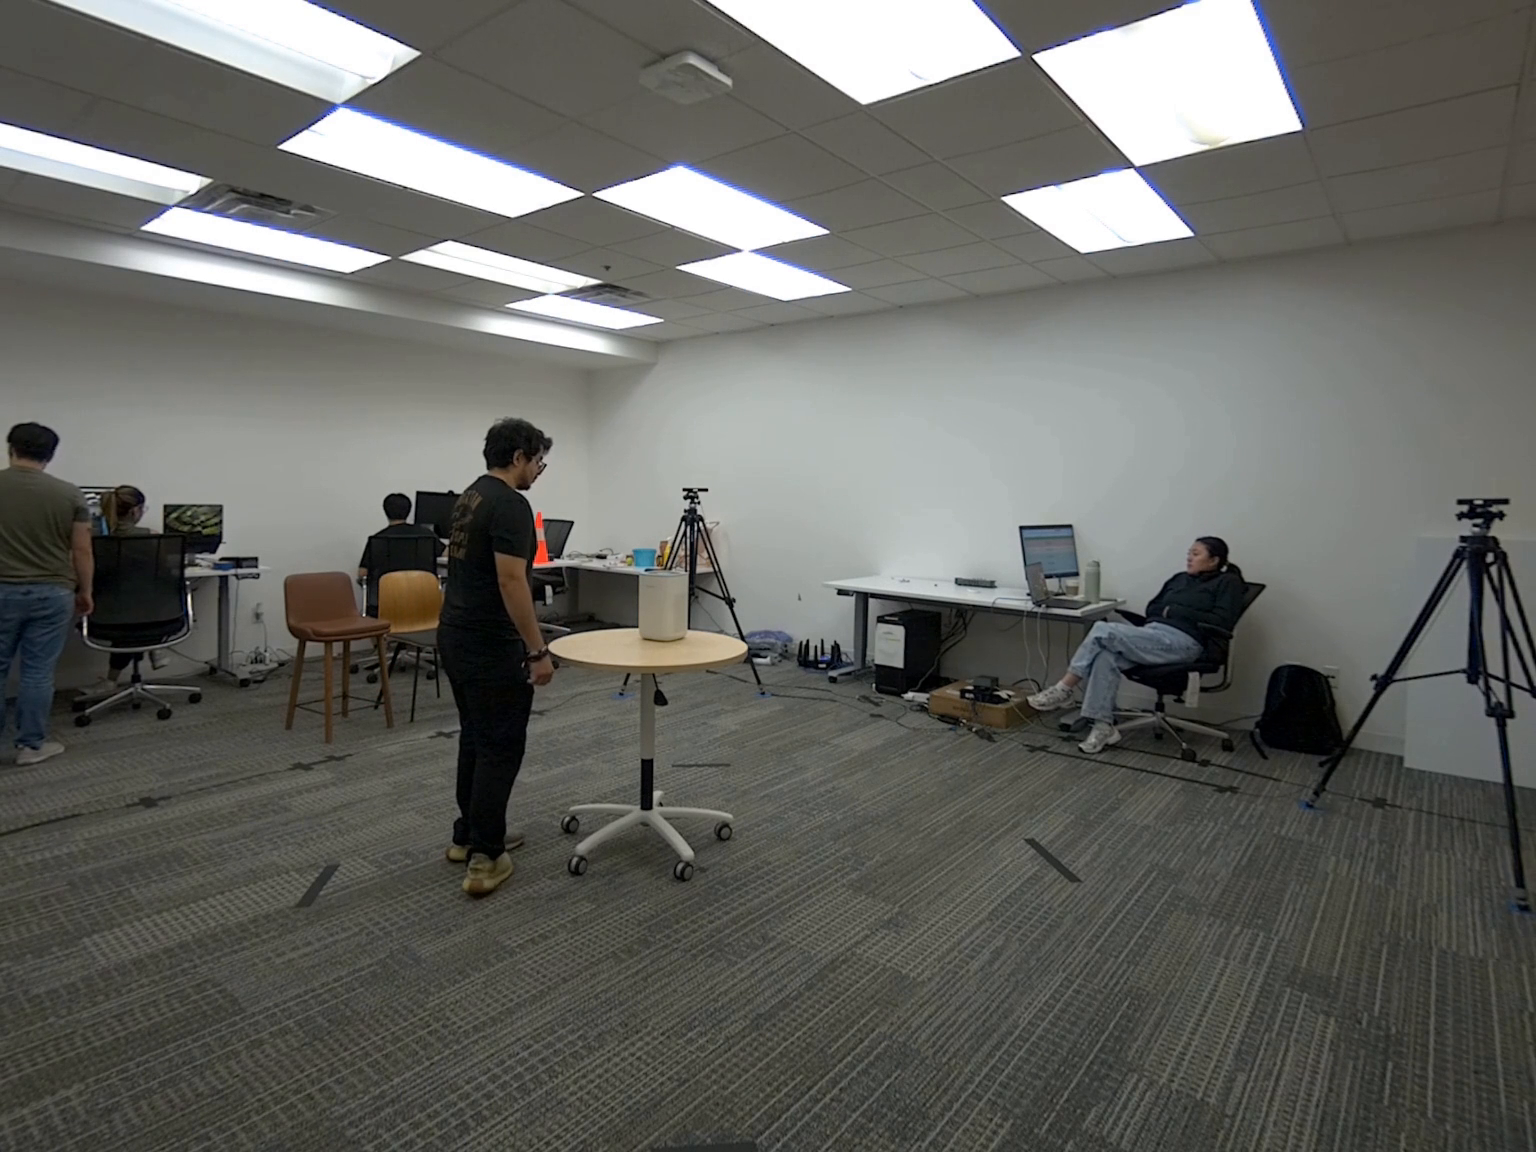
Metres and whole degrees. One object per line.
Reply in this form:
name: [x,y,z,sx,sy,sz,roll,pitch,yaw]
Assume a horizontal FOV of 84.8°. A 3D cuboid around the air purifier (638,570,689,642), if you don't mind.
air purifier: [-0.439,0.117,3.432,0.176,0.264,0.168,4,6,25]
